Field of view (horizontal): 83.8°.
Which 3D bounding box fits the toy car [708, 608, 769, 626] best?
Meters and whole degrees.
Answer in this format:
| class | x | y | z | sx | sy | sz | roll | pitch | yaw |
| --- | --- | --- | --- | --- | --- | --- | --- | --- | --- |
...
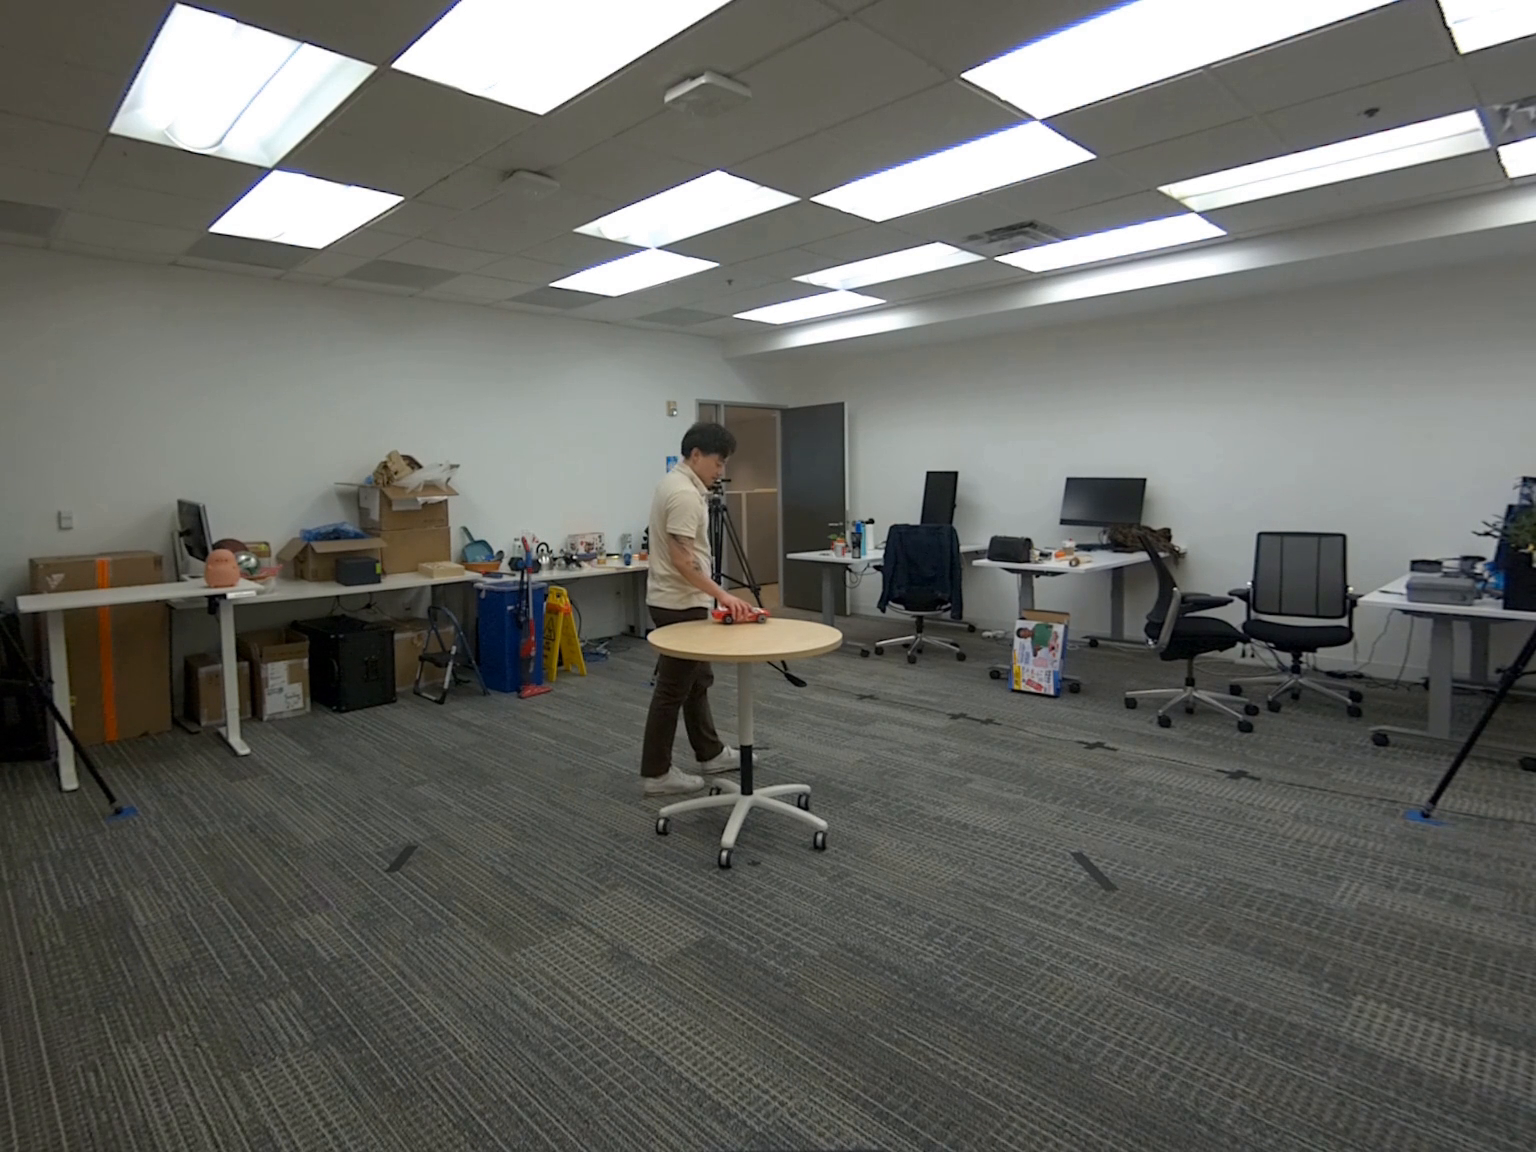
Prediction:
| class | x | y | z | sx | sy | sz | roll | pitch | yaw |
| --- | --- | --- | --- | --- | --- | --- | --- | --- | --- |
| toy car | -0.128 | 0.167 | 3.645 | 0.252 | 0.083 | 0.131 | 8 | 3 | -8 |
